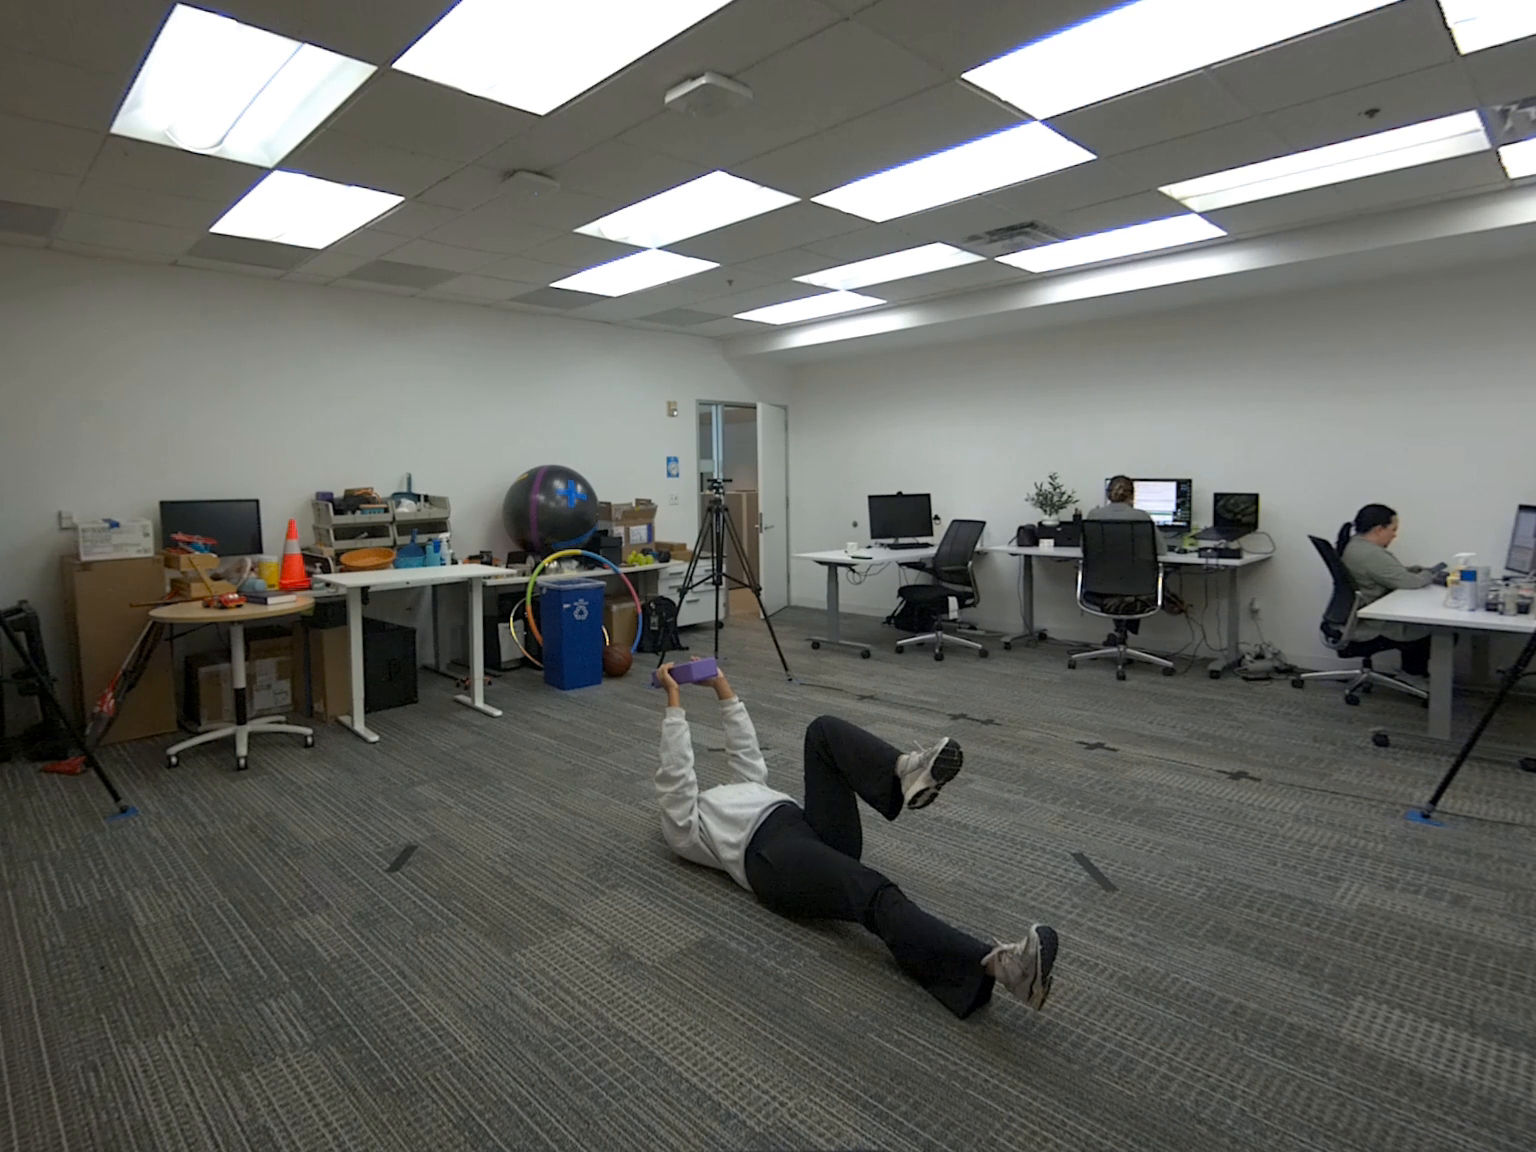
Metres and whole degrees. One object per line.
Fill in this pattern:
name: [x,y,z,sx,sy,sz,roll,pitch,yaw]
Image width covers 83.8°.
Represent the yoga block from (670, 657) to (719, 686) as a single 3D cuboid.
yoga block: [-0.330,0.378,3.325,0.234,0.077,0.145,-15,-5,39]
